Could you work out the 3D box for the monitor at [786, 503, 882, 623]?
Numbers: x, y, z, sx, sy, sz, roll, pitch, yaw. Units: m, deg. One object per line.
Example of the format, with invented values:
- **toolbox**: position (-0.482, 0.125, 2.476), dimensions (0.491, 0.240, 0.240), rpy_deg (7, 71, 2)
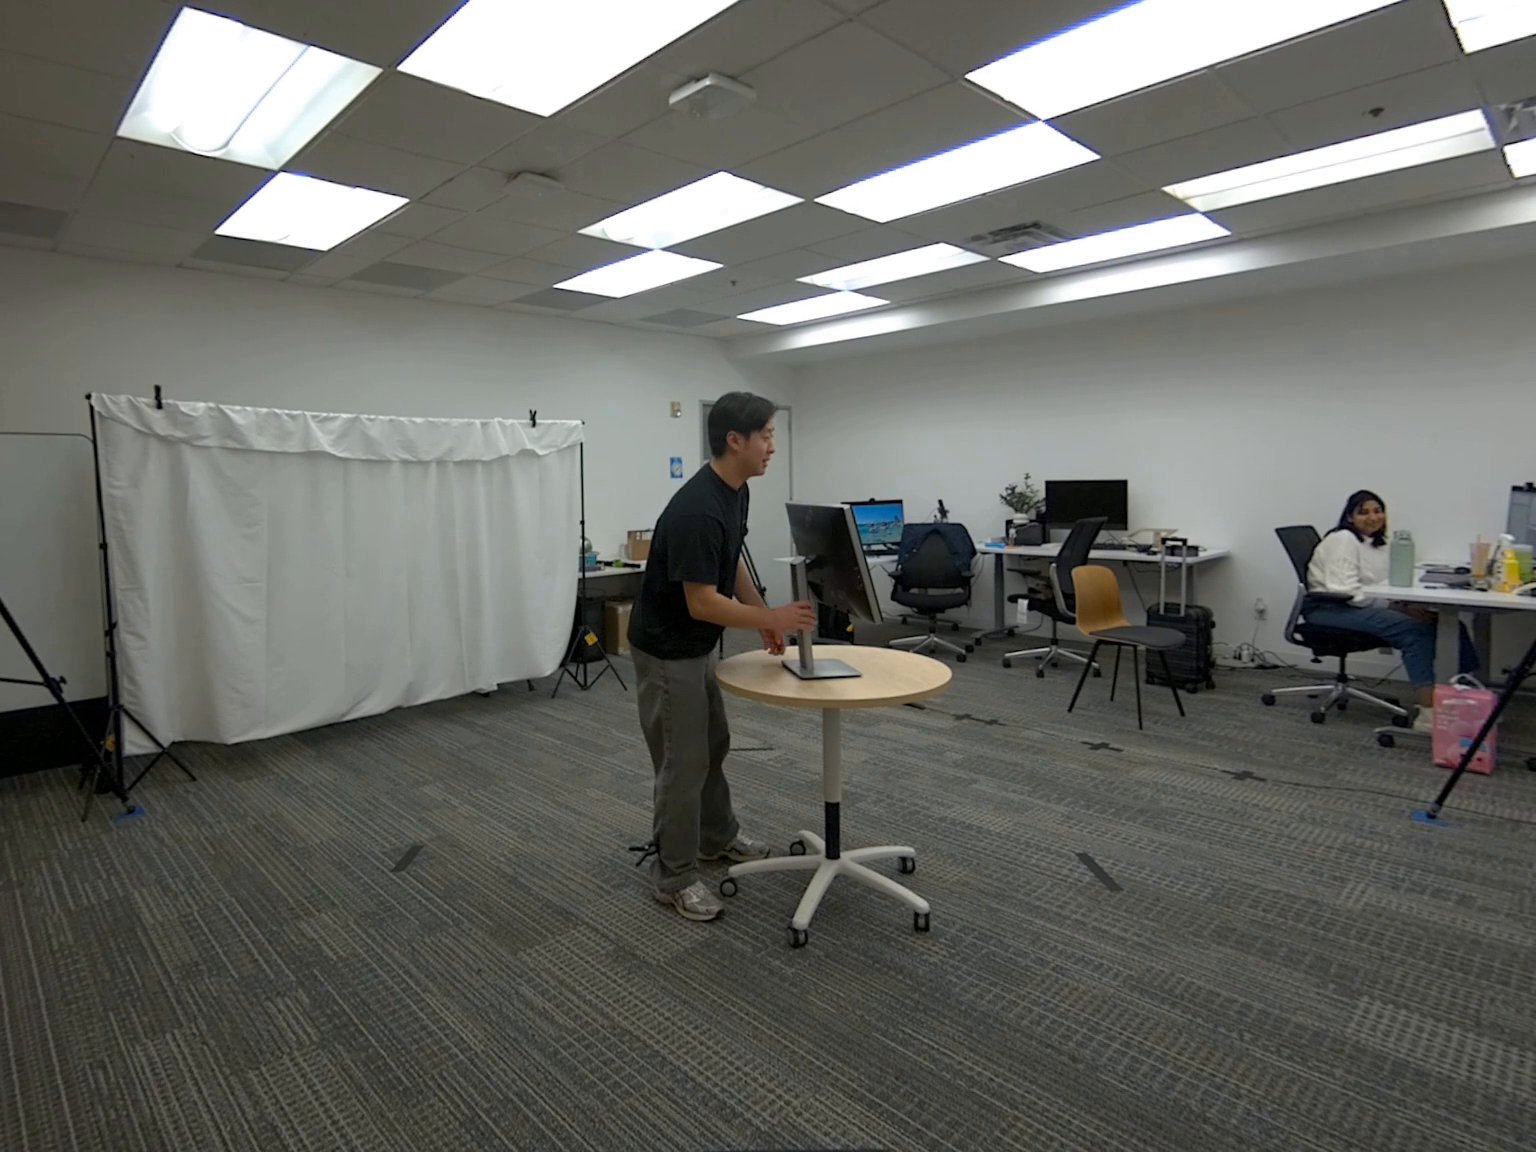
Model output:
- **monitor**: position (0.173, 0.044, 2.757), dimensions (0.220, 0.563, 0.571), rpy_deg (-1, 5, -13)
